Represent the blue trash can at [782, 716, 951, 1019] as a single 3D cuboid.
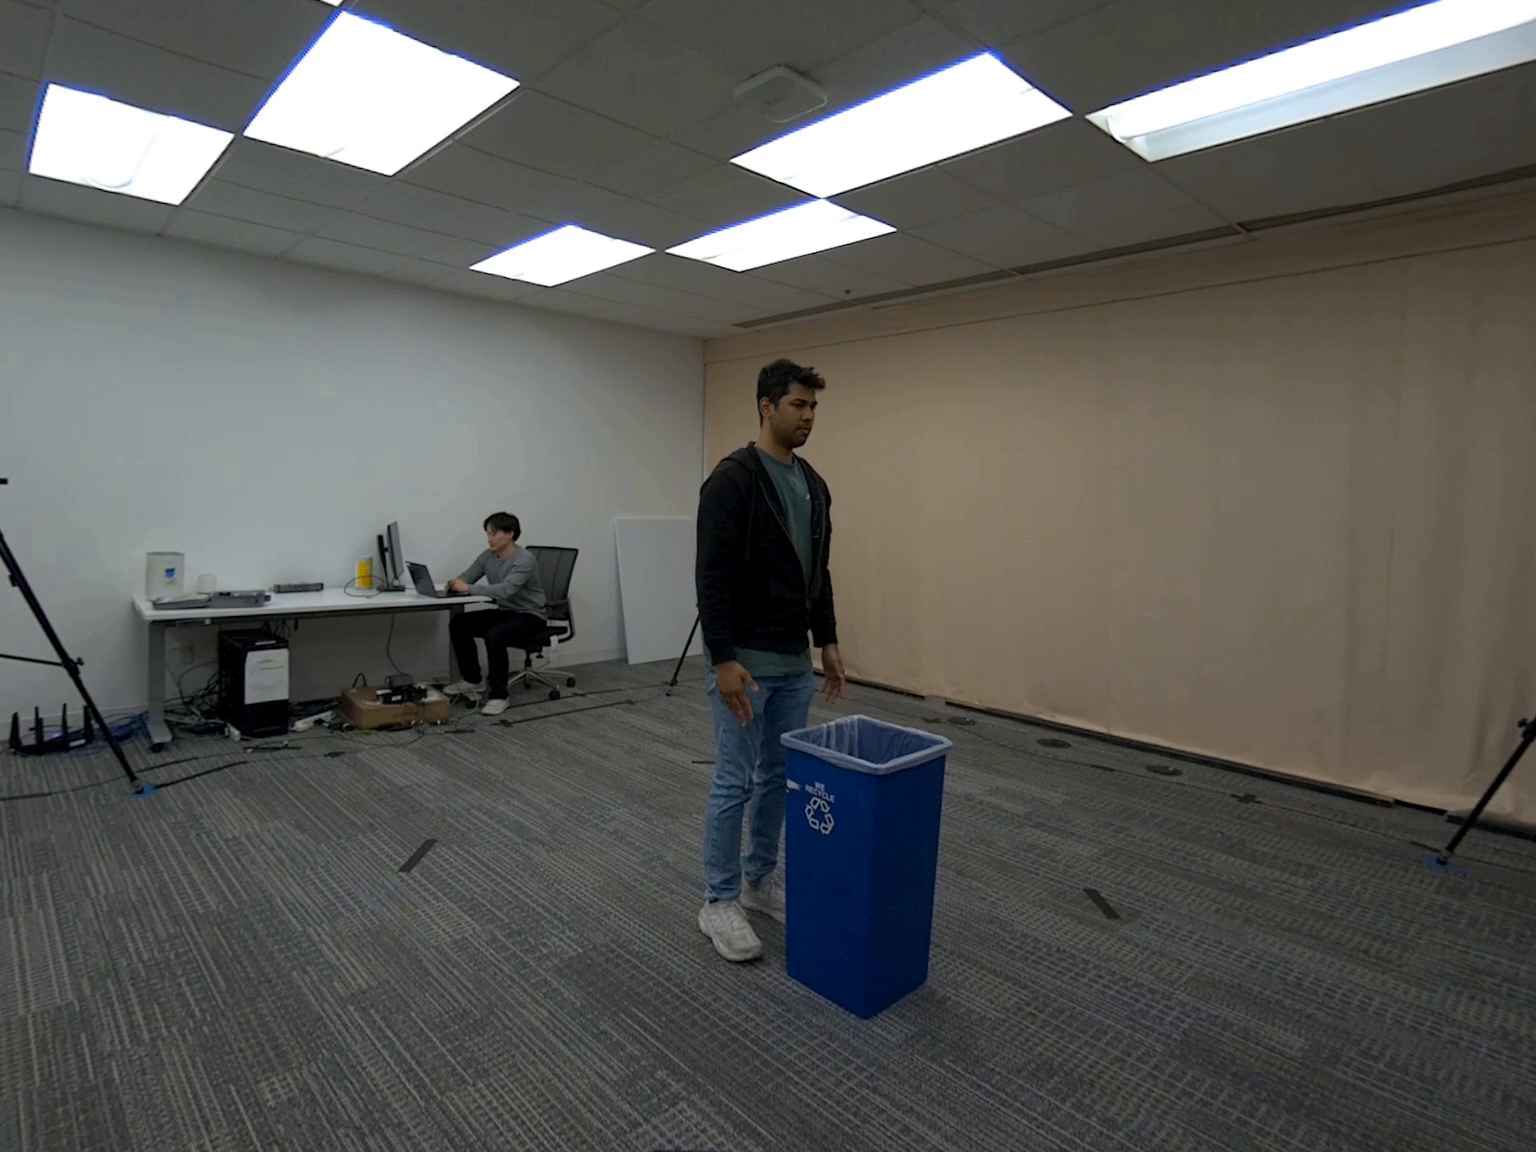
[{"bbox_3d":[0.271,0.822,2.441,0.369,0.712,0.384,-2,5,-45],"label":"blue trash can"}]
